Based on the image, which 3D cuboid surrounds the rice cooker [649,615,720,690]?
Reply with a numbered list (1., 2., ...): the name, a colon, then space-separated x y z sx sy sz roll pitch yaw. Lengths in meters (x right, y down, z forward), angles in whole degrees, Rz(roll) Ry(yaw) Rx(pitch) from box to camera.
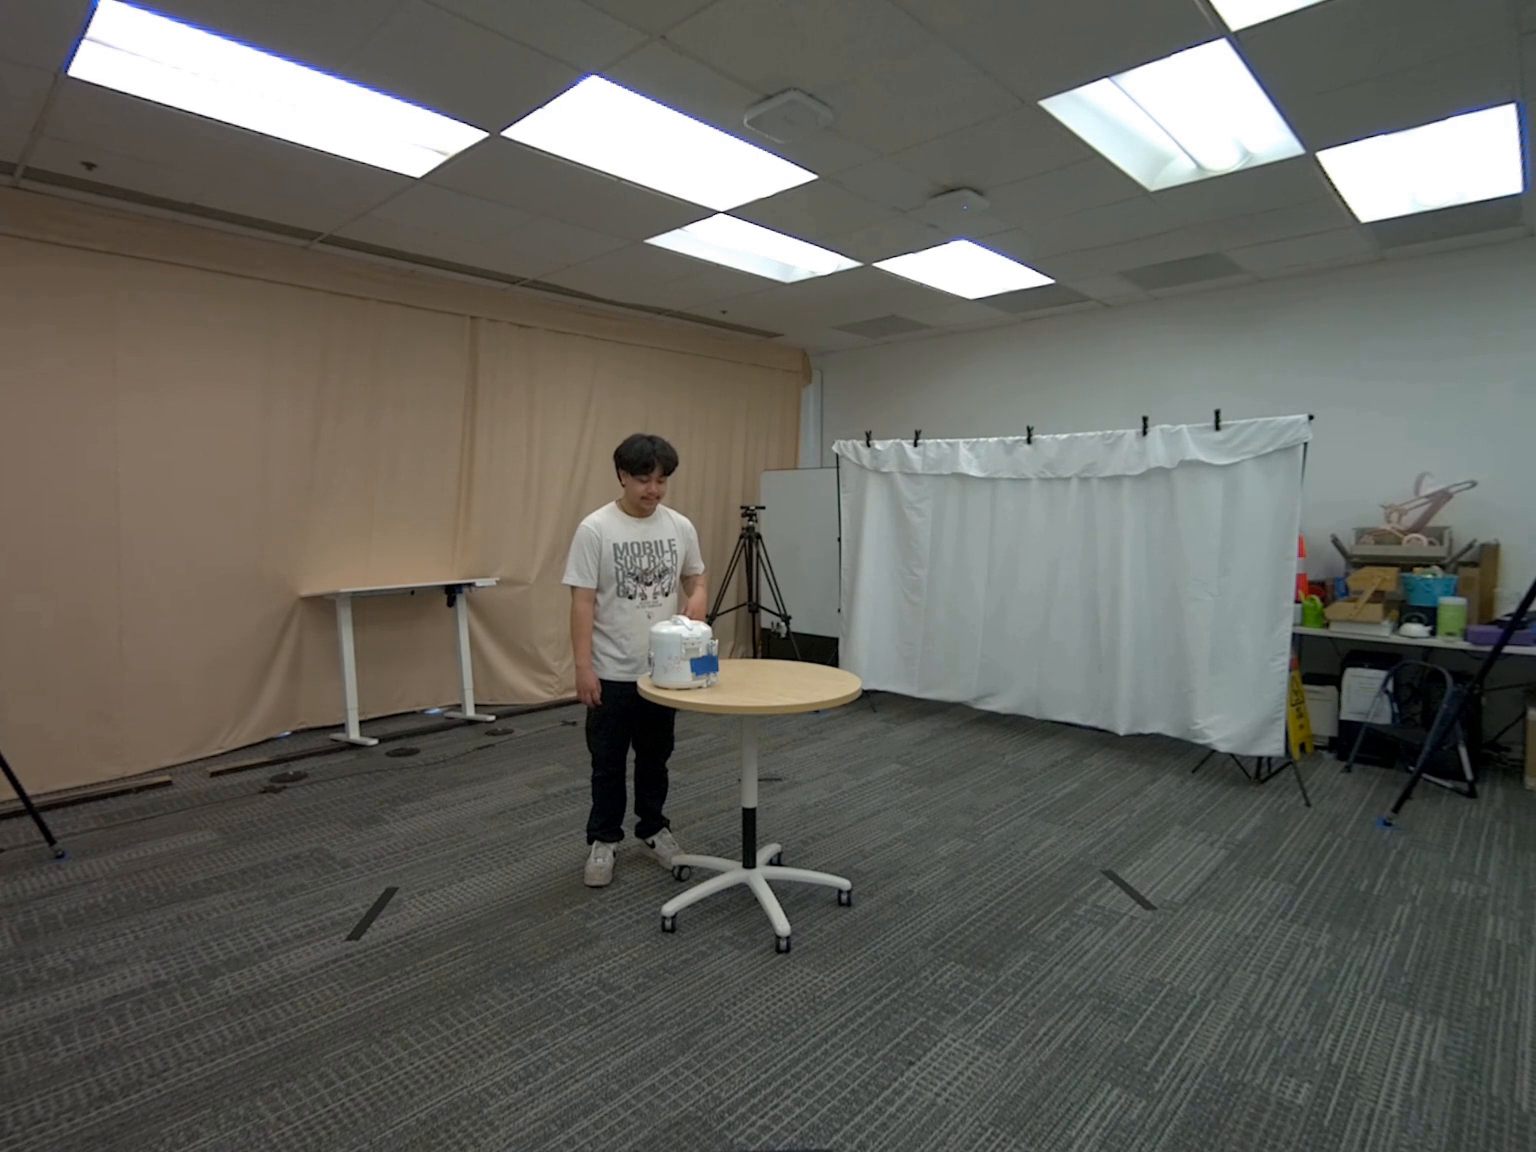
1. rice cooker: -0.288 0.248 2.796 0.212 0.232 0.226 -1 3 -25
